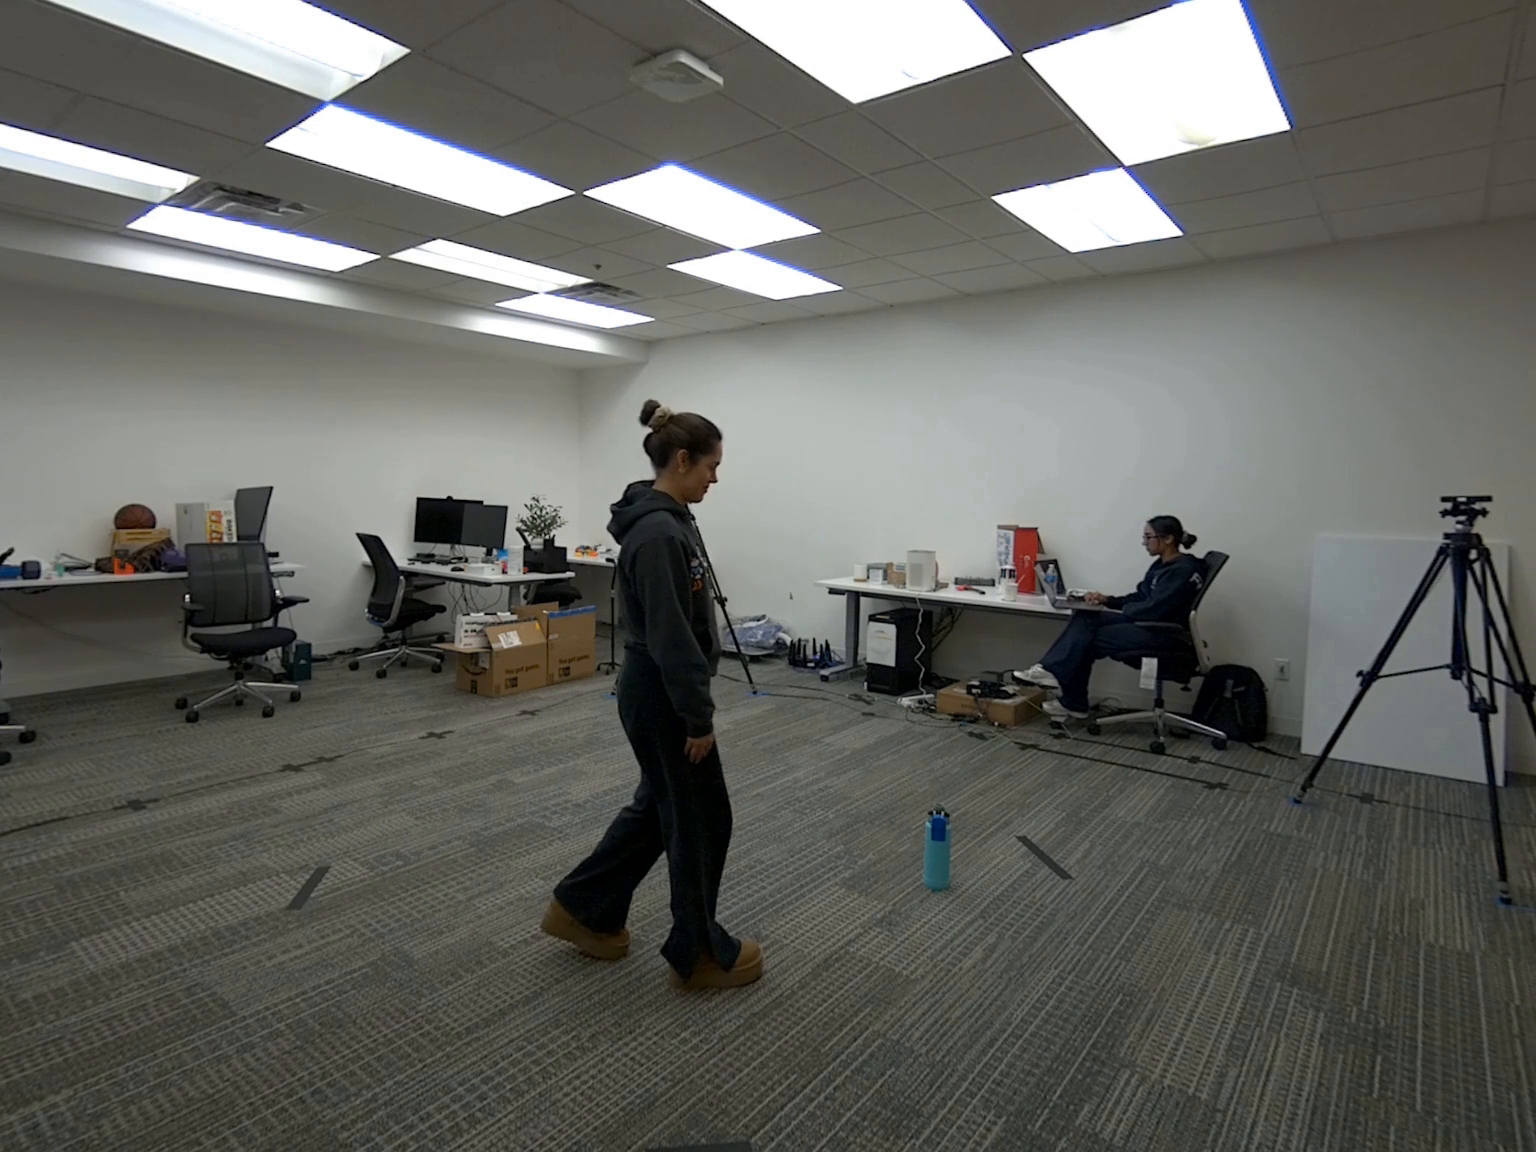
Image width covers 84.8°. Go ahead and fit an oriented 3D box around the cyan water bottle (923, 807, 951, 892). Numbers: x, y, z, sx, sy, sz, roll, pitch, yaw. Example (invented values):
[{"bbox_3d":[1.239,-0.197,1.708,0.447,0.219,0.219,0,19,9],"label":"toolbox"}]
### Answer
[{"bbox_3d":[0.607,0.952,3.015,0.092,0.282,0.093,1,4,-2],"label":"cyan water bottle"}]
